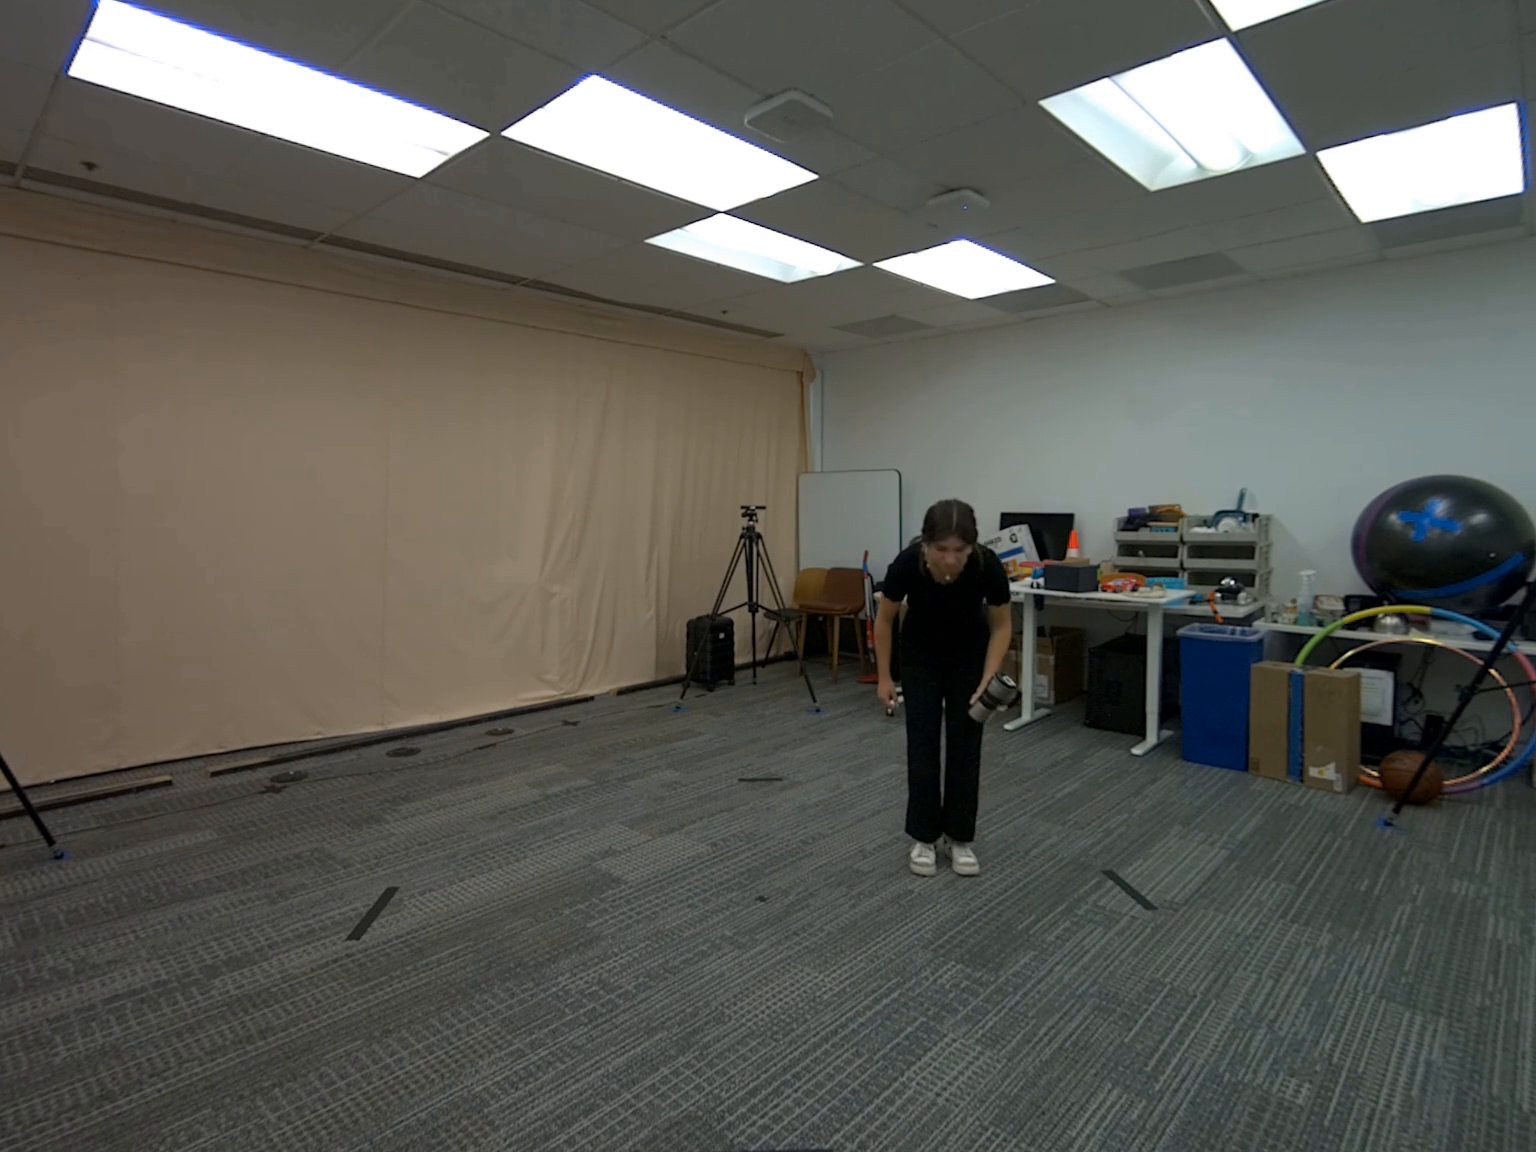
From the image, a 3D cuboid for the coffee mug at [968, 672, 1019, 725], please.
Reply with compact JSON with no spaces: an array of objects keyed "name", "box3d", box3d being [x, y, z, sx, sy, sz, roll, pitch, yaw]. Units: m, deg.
[{"name":"coffee mug","box3d":[0.828,0.452,3.024,0.119,0.202,0.090,13,28,-22]}]
